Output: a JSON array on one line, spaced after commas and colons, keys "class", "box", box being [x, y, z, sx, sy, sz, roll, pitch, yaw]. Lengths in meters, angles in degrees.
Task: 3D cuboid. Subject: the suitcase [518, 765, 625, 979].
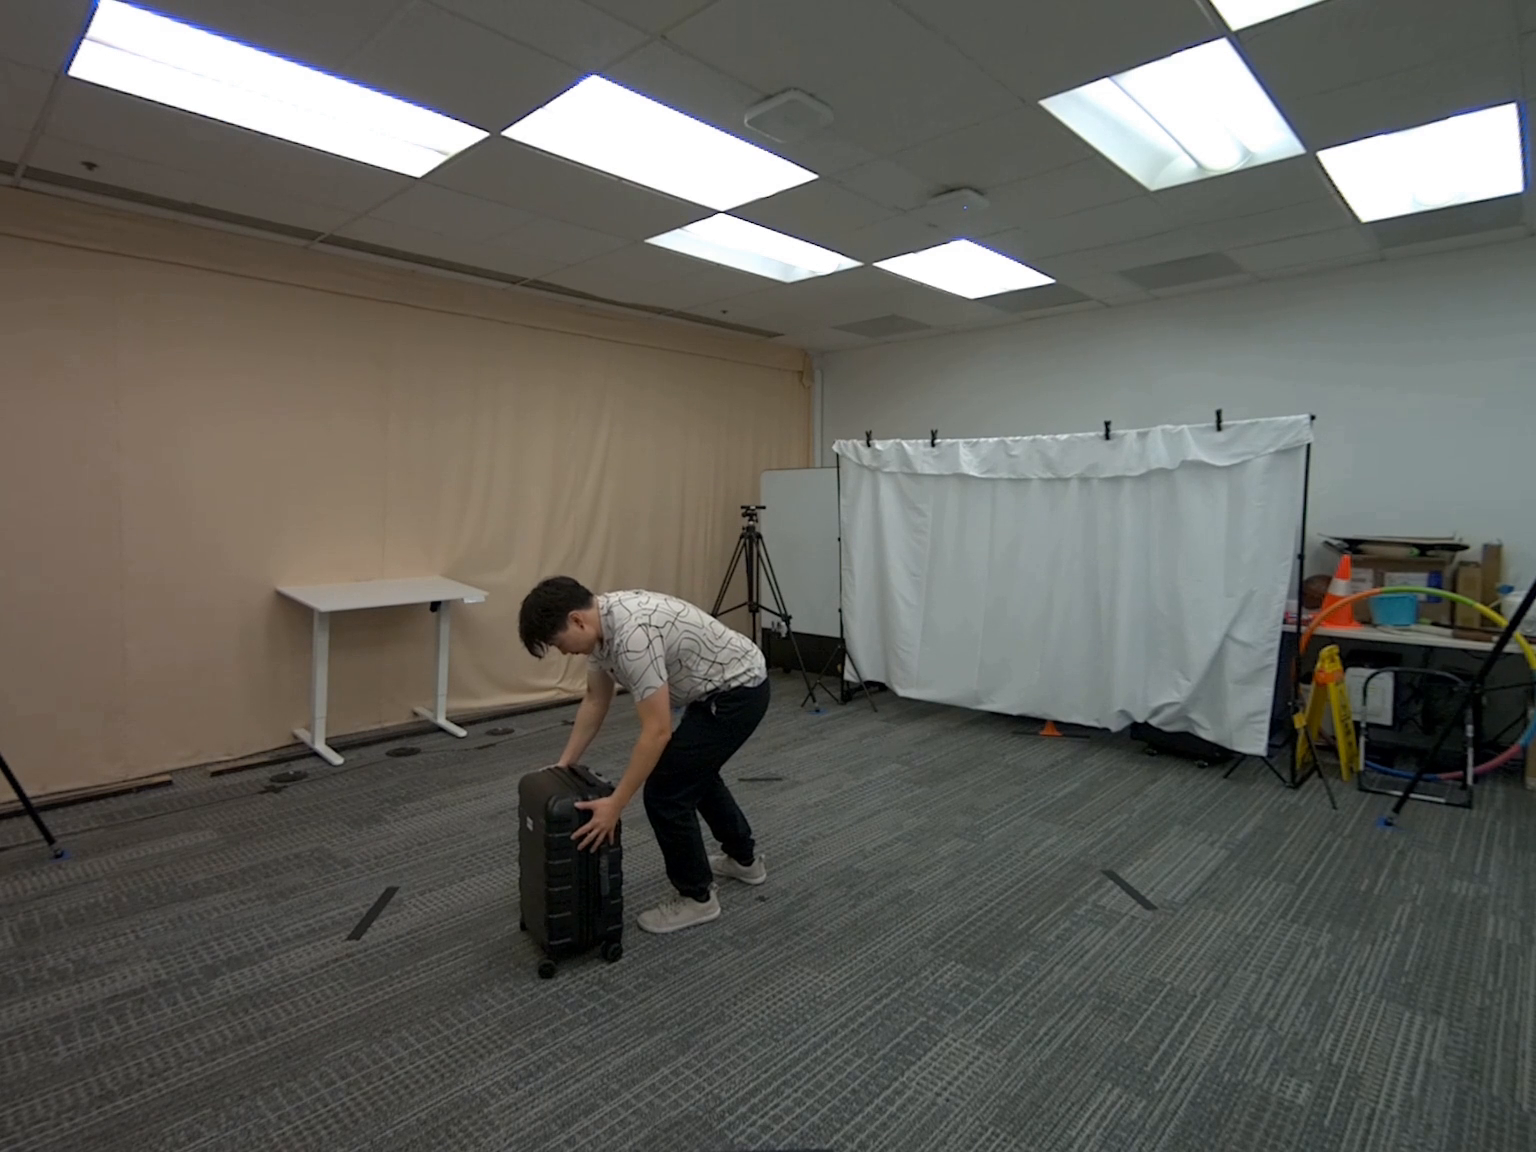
[{"class": "suitcase", "box": [-0.634, 0.903, 2.659, 0.242, 0.548, 0.386, -2, 4, -30]}]
